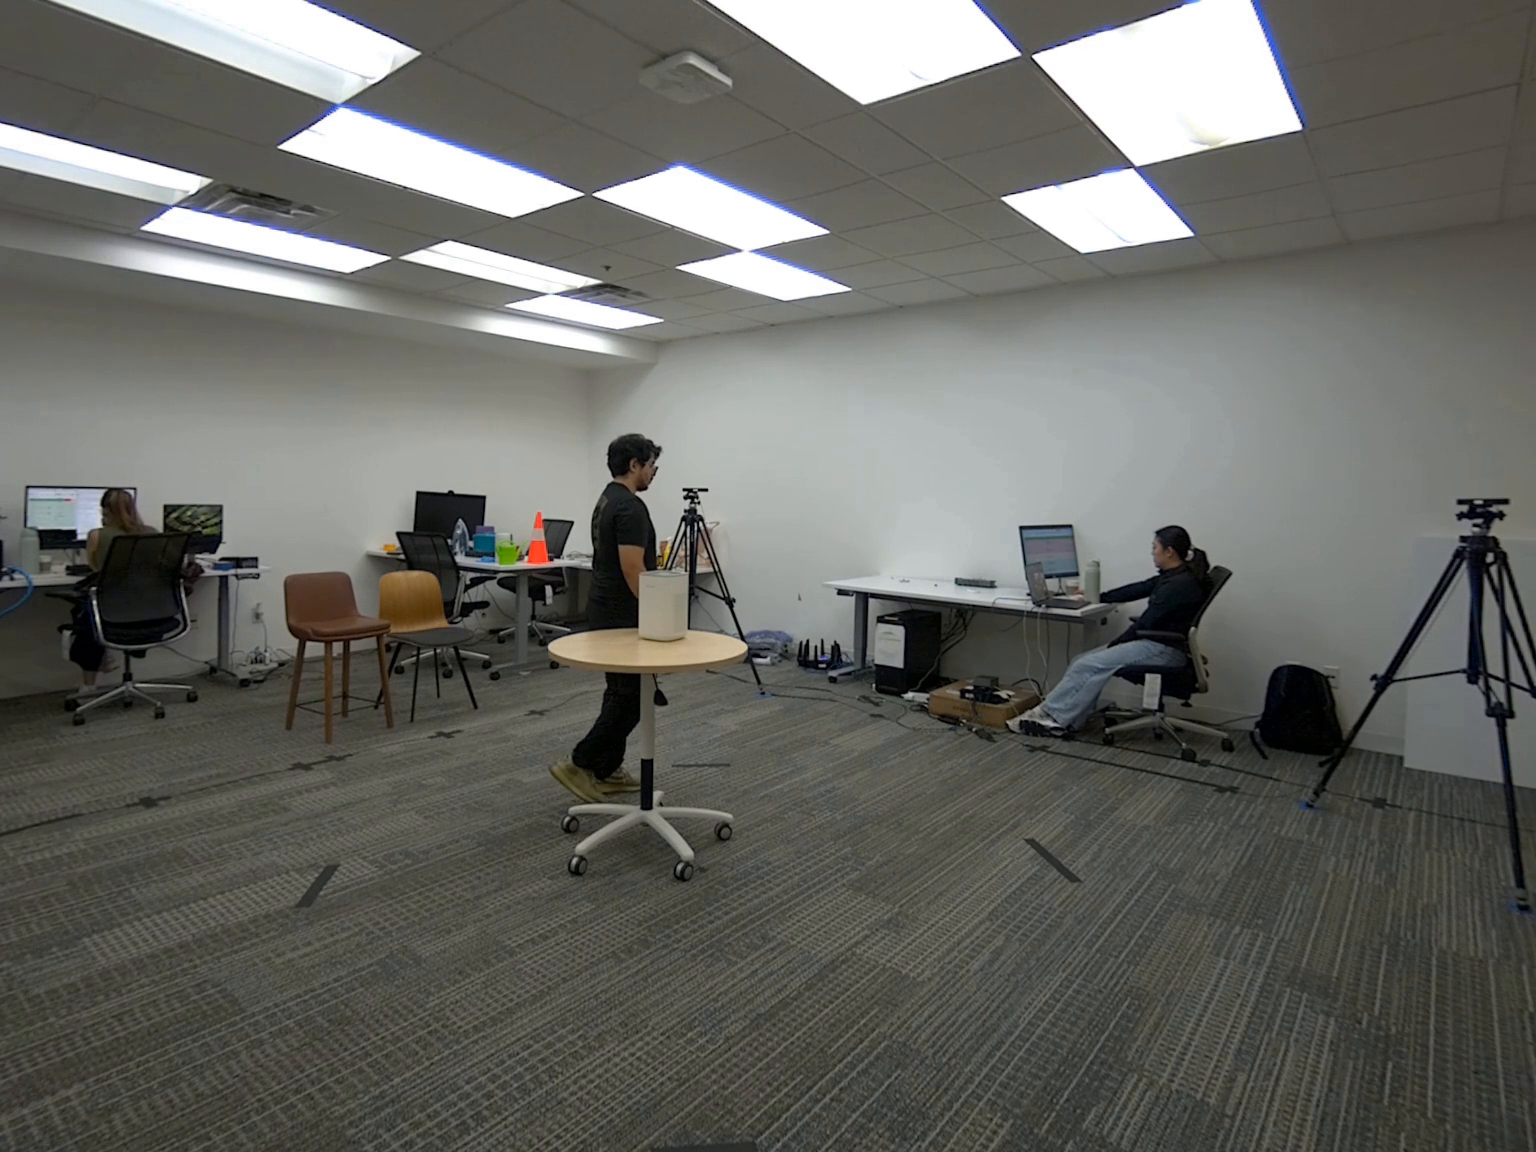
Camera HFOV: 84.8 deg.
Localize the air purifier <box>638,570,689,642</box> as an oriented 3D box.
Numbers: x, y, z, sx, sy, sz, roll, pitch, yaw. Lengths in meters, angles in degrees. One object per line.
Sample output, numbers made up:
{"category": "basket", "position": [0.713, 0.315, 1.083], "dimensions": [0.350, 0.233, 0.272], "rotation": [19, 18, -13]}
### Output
{"category": "air purifier", "position": [-0.437, 0.117, 3.435], "dimensions": [0.176, 0.264, 0.167], "rotation": [4, 5, 27]}
